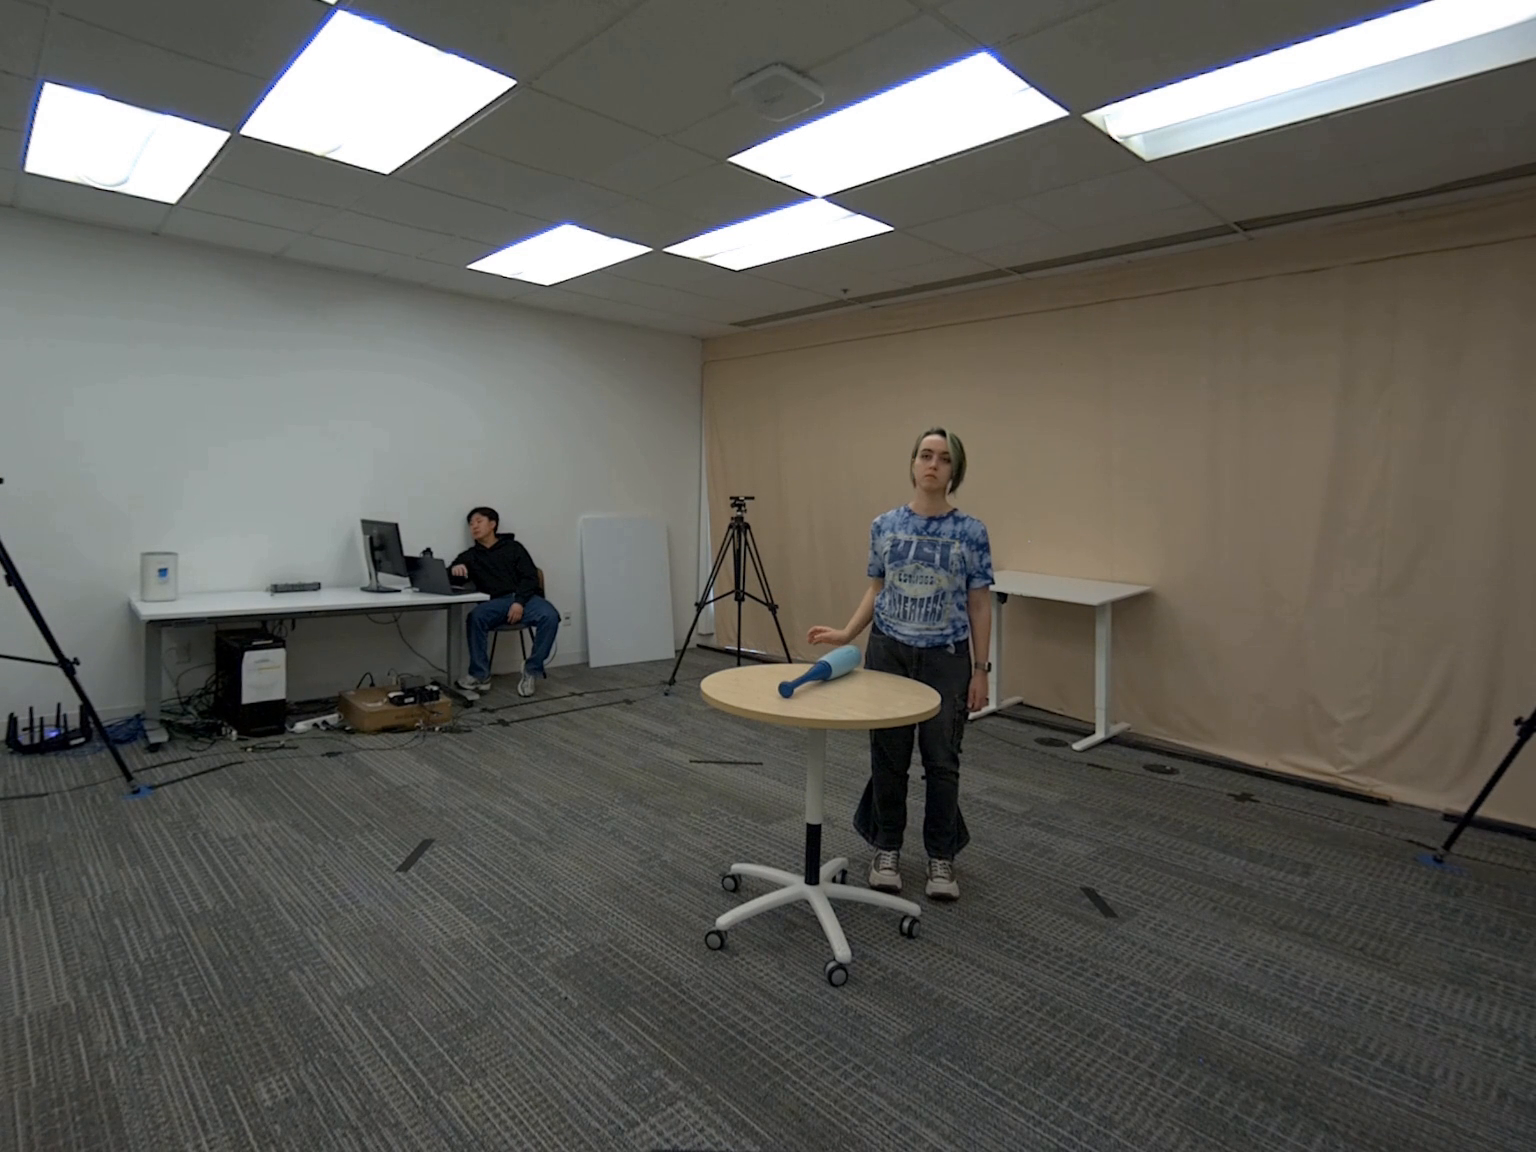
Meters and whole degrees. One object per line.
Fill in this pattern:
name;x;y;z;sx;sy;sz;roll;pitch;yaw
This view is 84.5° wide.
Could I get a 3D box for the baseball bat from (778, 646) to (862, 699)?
baseball bat;0.171;0.322;2.781;0.091;0.088;0.534;3;9;27
